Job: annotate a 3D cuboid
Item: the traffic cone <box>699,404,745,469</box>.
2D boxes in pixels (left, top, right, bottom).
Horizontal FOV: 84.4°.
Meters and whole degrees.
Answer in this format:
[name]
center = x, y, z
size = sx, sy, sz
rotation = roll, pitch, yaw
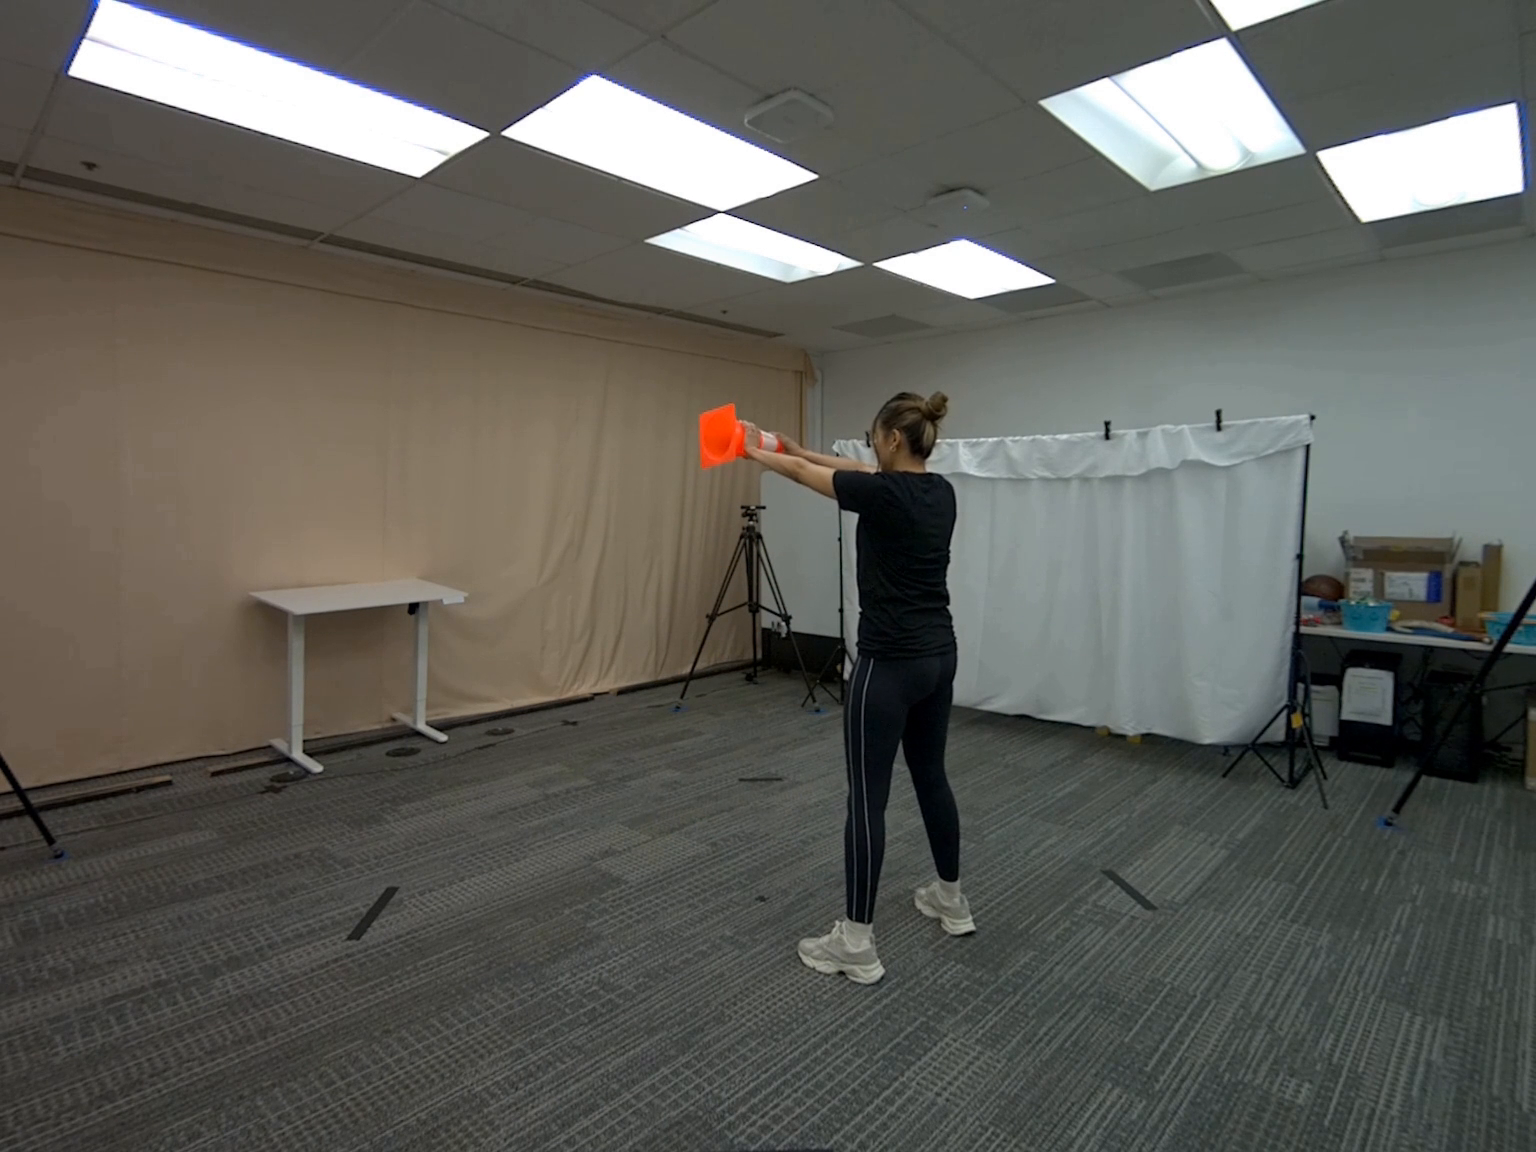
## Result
[traffic cone]
center = -0.035, -0.474, 3.066
size = 0.371, 0.206, 0.209
rotation = 4, -7, -40
